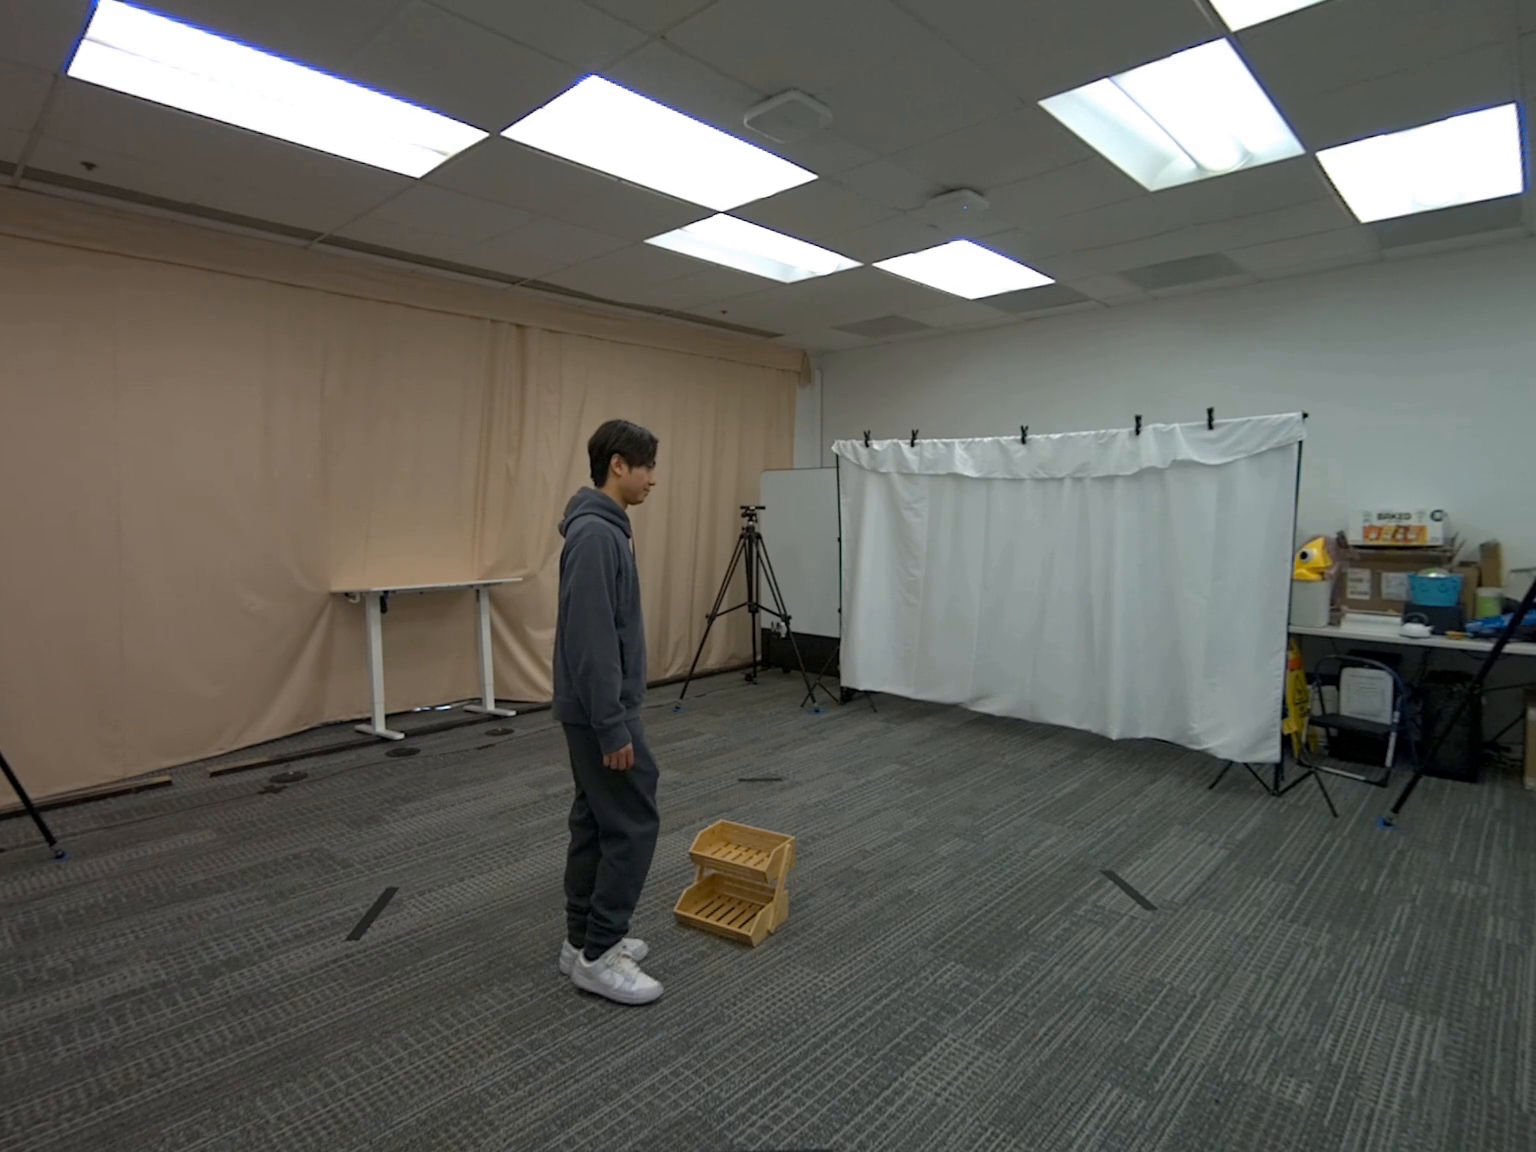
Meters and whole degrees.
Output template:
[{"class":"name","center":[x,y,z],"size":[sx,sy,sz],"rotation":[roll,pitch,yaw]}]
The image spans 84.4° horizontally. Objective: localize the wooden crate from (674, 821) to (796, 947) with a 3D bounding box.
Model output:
[{"class":"wooden crate","center":[-0.108,1.023,2.838],"size":[0.334,0.273,0.294],"rotation":[2,4,31]}]
